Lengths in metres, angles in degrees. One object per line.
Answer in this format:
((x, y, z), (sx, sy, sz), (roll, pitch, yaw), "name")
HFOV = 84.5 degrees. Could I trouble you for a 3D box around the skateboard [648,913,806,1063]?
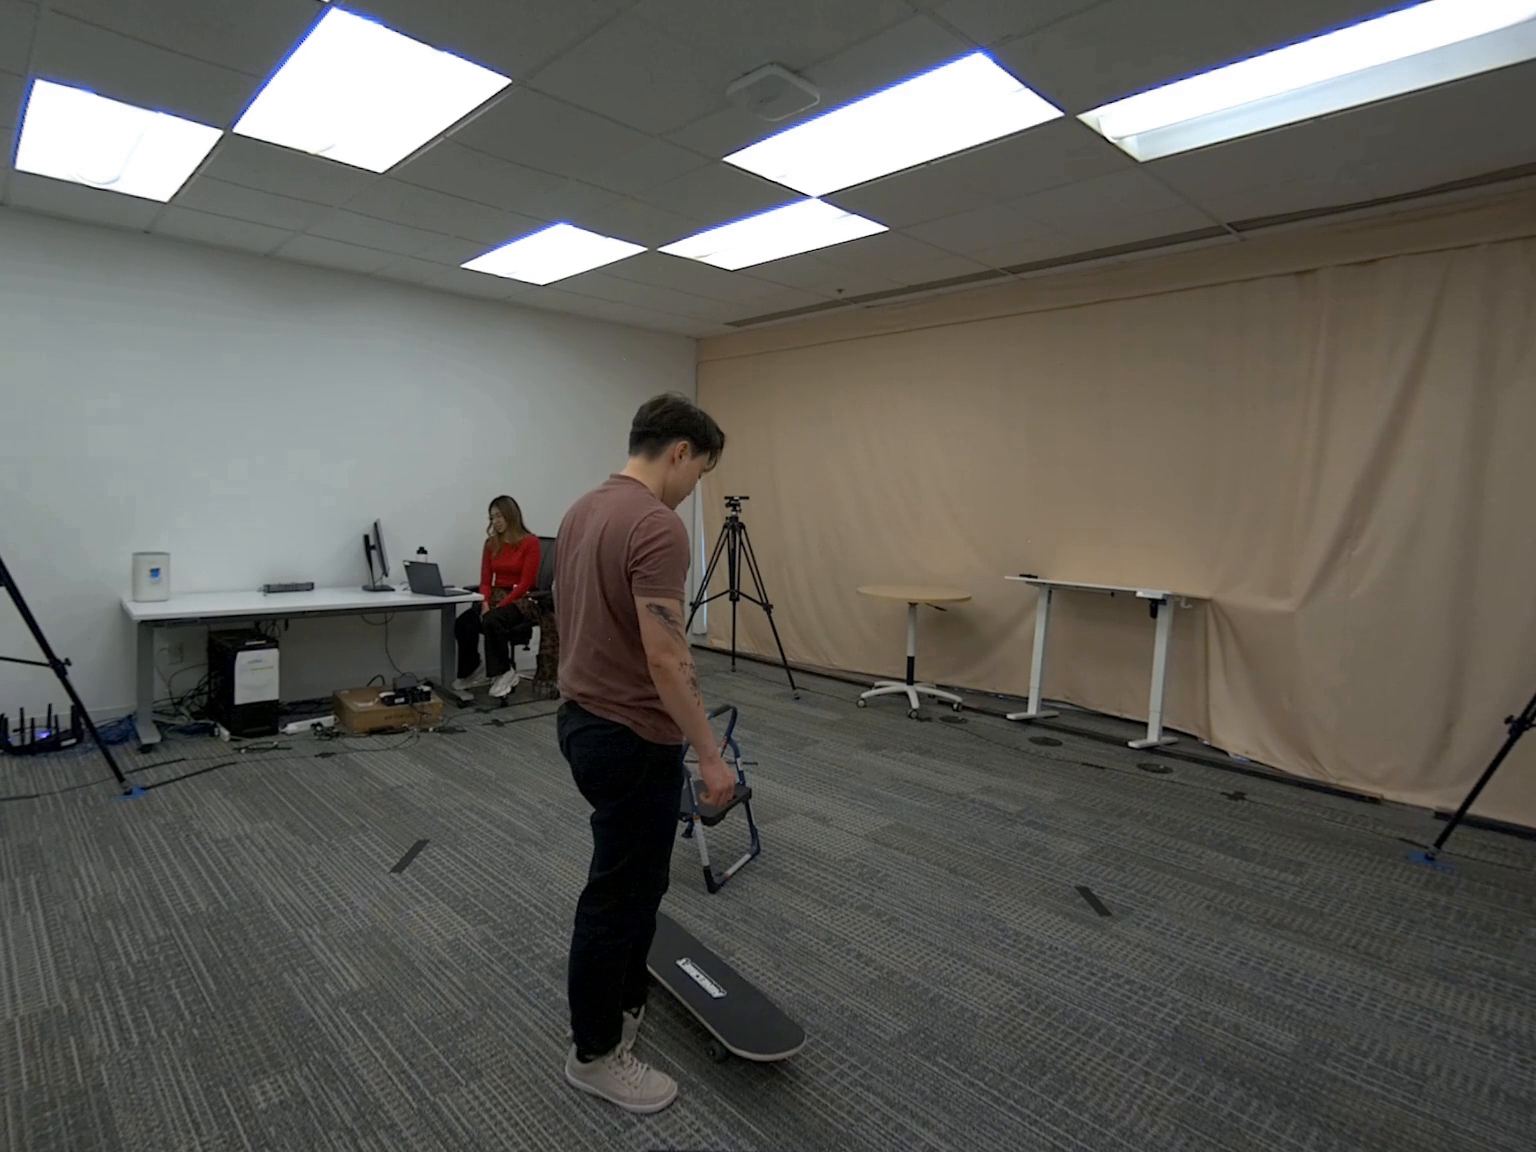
((-0.197, 1.131, 2.283), (0.189, 0.110, 0.805), (-3, 8, -36), "skateboard")
